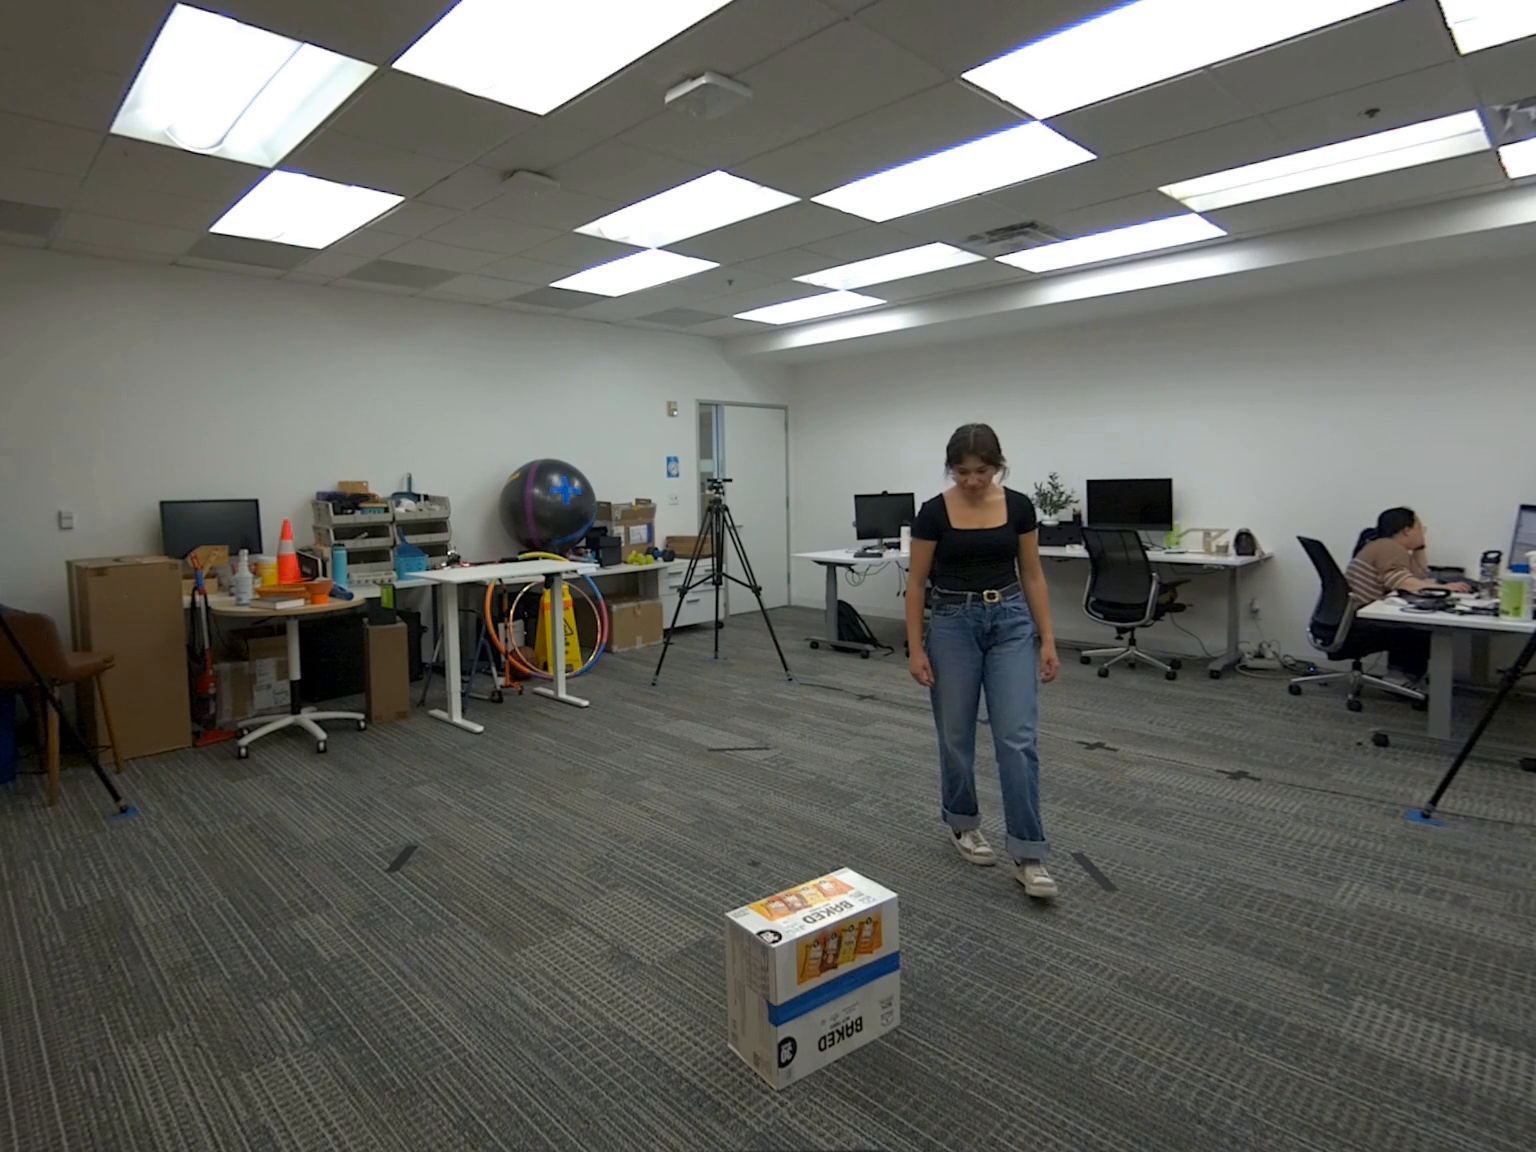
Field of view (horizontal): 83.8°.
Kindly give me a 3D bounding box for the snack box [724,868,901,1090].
[{"bbox_3d":[0.121,0.987,2.134,0.395,0.339,0.211,-5,4,-36],"label":"snack box"}]
